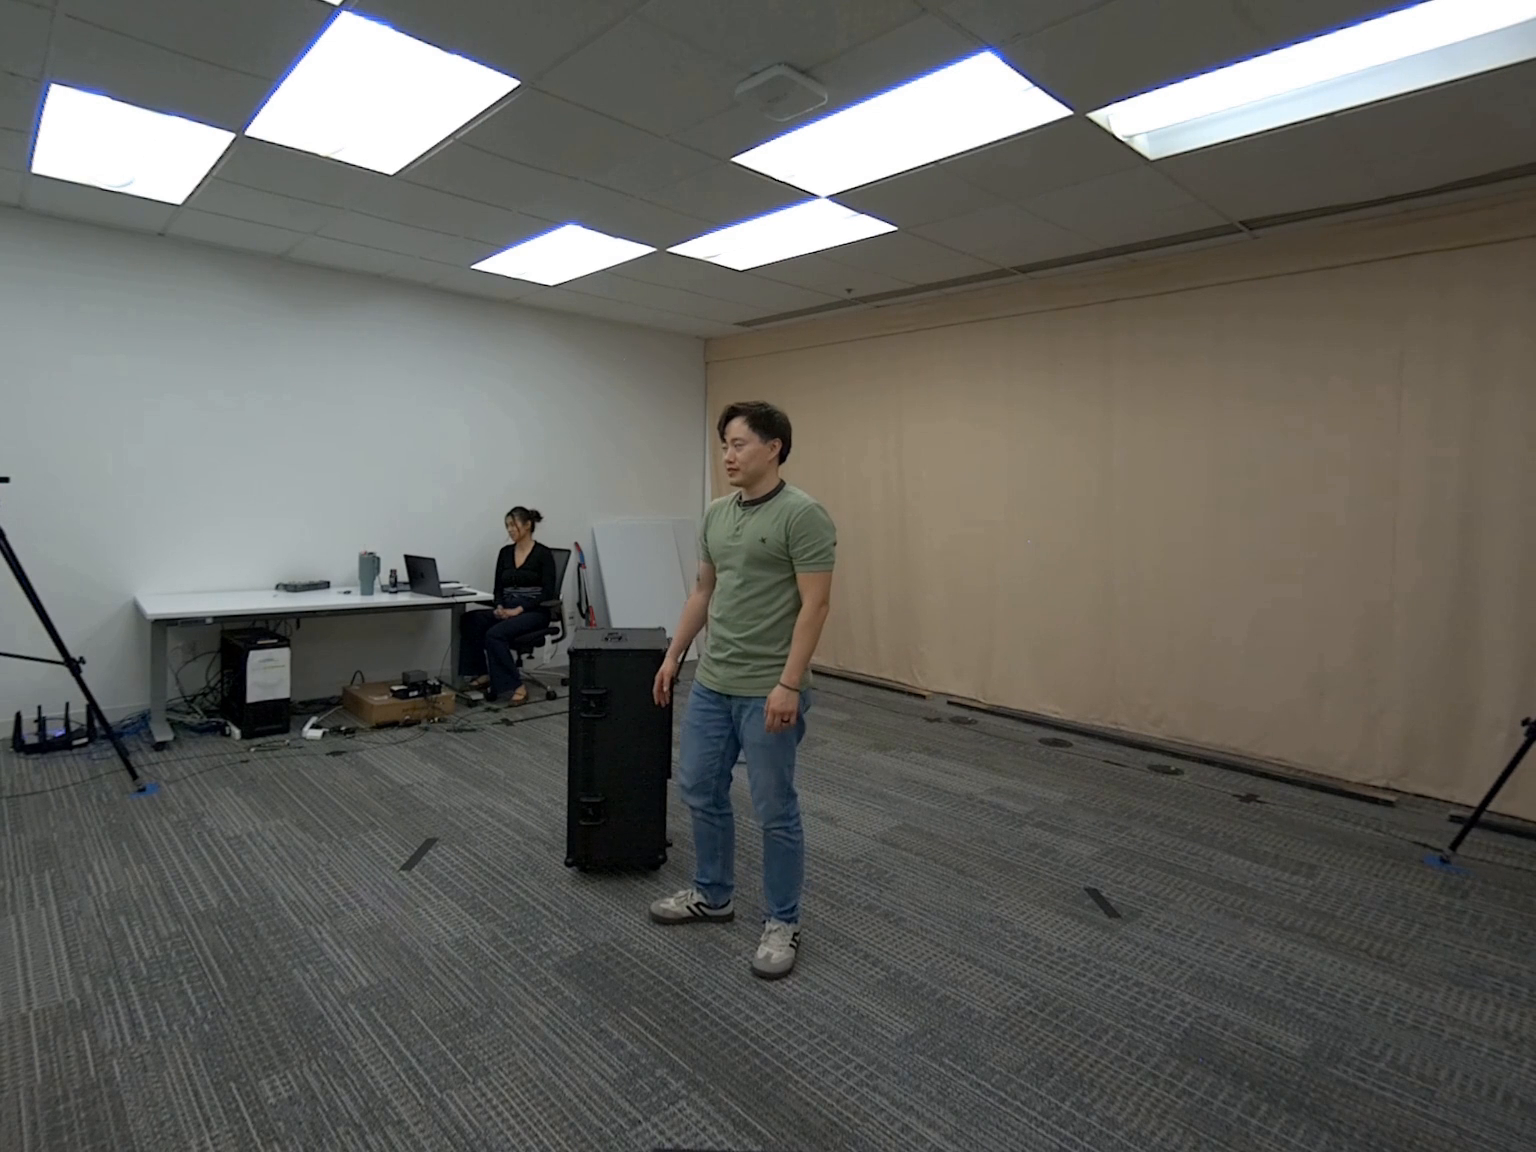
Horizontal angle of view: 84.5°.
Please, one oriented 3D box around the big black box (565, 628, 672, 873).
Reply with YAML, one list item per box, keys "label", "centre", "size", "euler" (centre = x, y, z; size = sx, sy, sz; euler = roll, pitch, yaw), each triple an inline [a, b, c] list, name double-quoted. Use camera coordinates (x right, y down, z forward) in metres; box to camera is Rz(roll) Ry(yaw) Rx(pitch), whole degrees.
- label: "big black box"
  centre: [-0.566, 0.596, 3.207]
  size: [0.393, 0.859, 0.526]
  euler: [1, 4, -10]
